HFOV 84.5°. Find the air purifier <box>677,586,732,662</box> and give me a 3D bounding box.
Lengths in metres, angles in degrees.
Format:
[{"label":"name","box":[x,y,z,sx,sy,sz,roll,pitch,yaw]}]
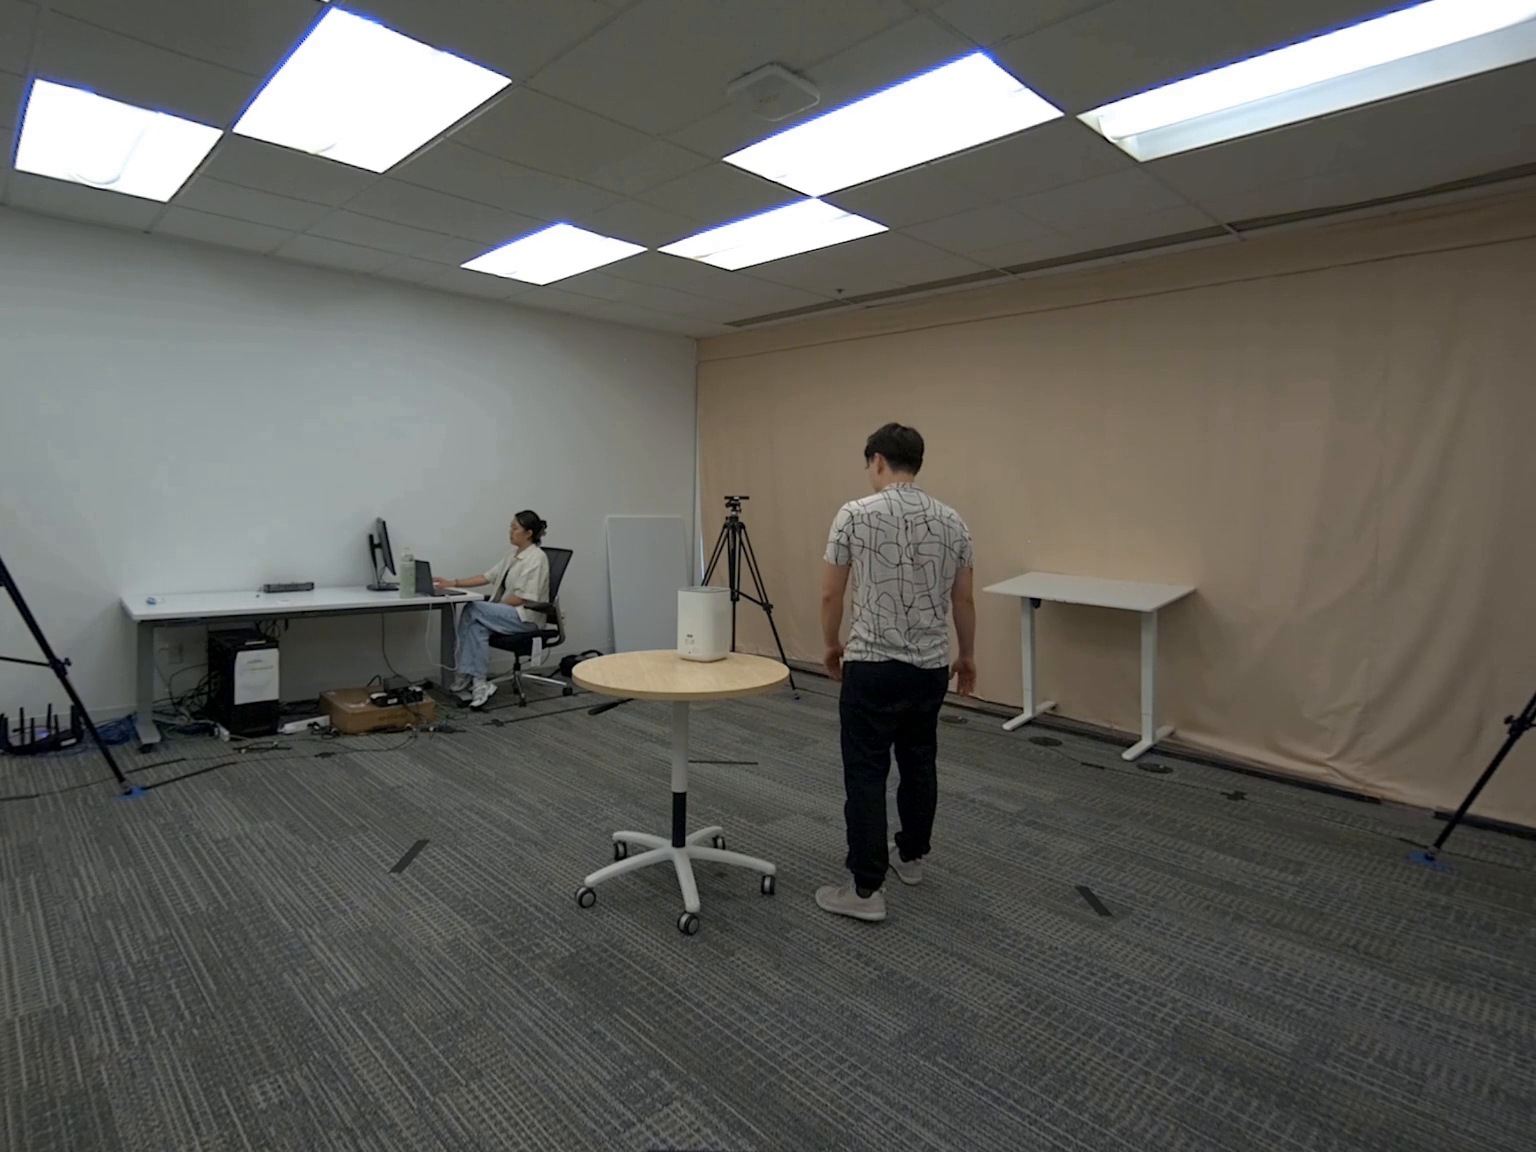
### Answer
[{"label":"air purifier","box":[-0.244,0.179,3.178,0.175,0.265,0.168,2,3,33]}]
